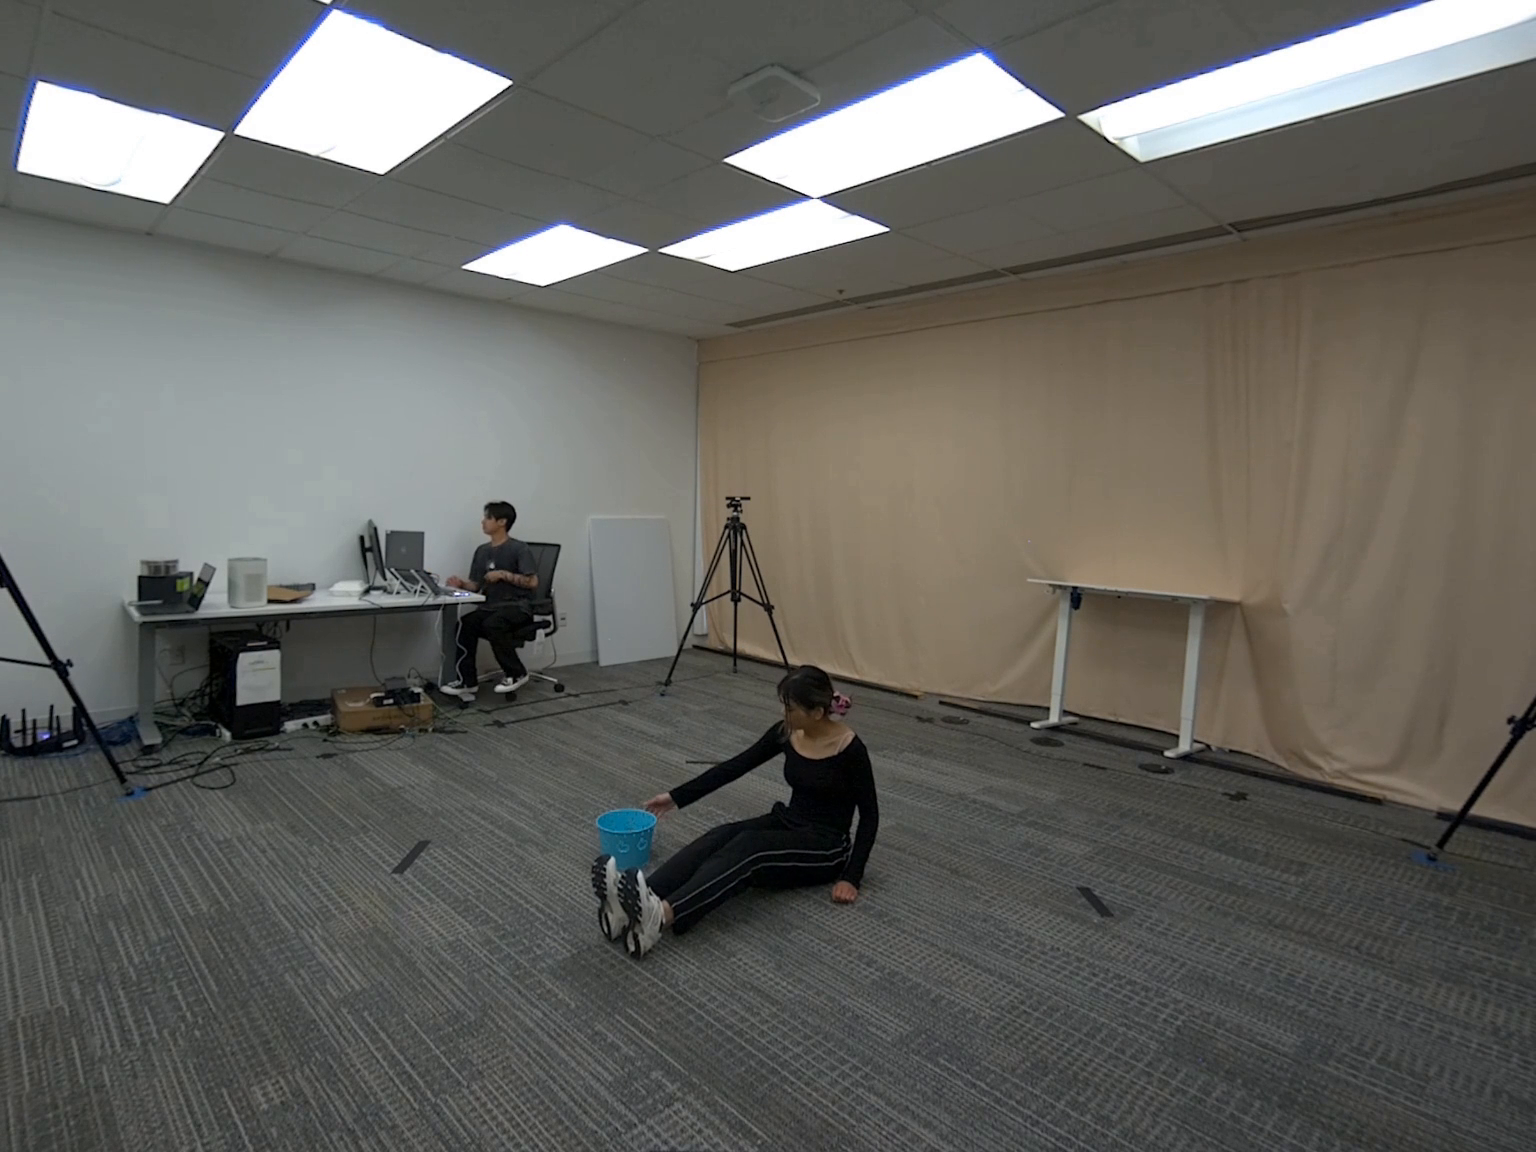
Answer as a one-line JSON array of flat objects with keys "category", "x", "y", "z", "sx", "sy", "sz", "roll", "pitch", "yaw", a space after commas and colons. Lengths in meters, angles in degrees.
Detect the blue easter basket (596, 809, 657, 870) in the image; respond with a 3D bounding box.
[{"category": "blue easter basket", "x": -0.542, "y": 1.002, "z": 3.225, "sx": 0.243, "sy": 0.155, "sz": 0.244, "roll": 1, "pitch": 5, "yaw": -1}]
